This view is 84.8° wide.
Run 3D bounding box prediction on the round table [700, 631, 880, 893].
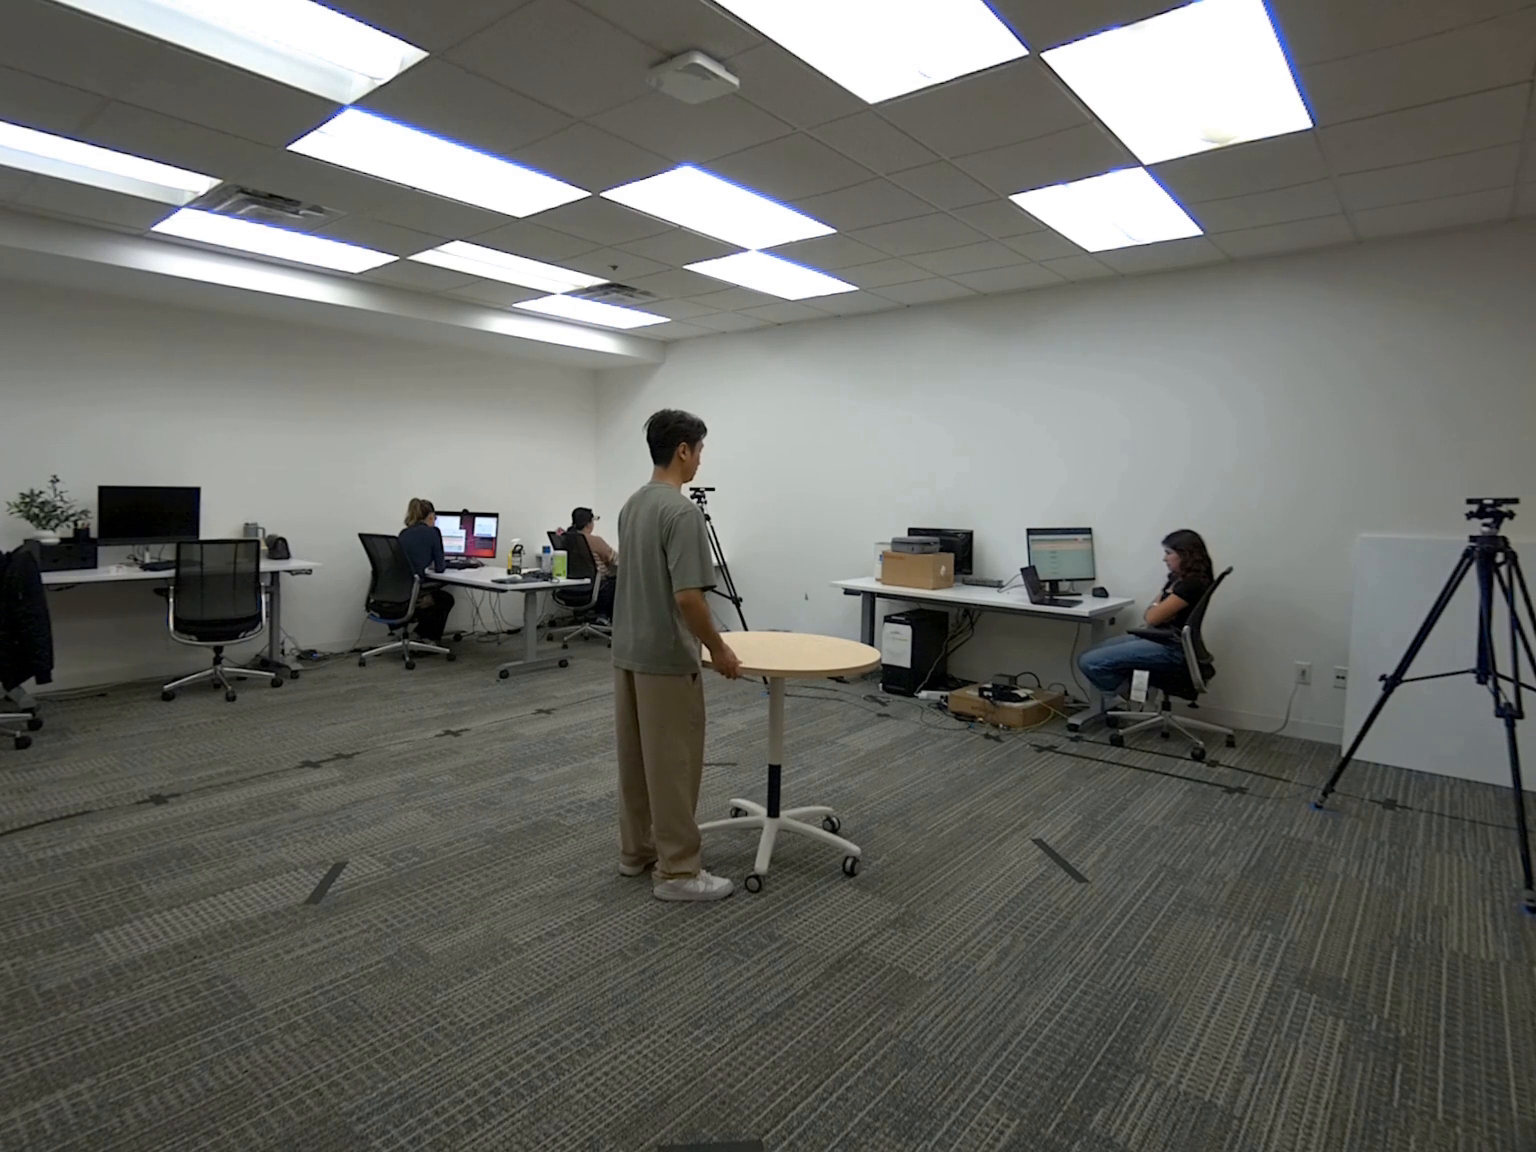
[{"bbox_3d":[0.012,0.663,3.248,0.784,0.784,0.789,2,4,-2],"label":"round table"}]
